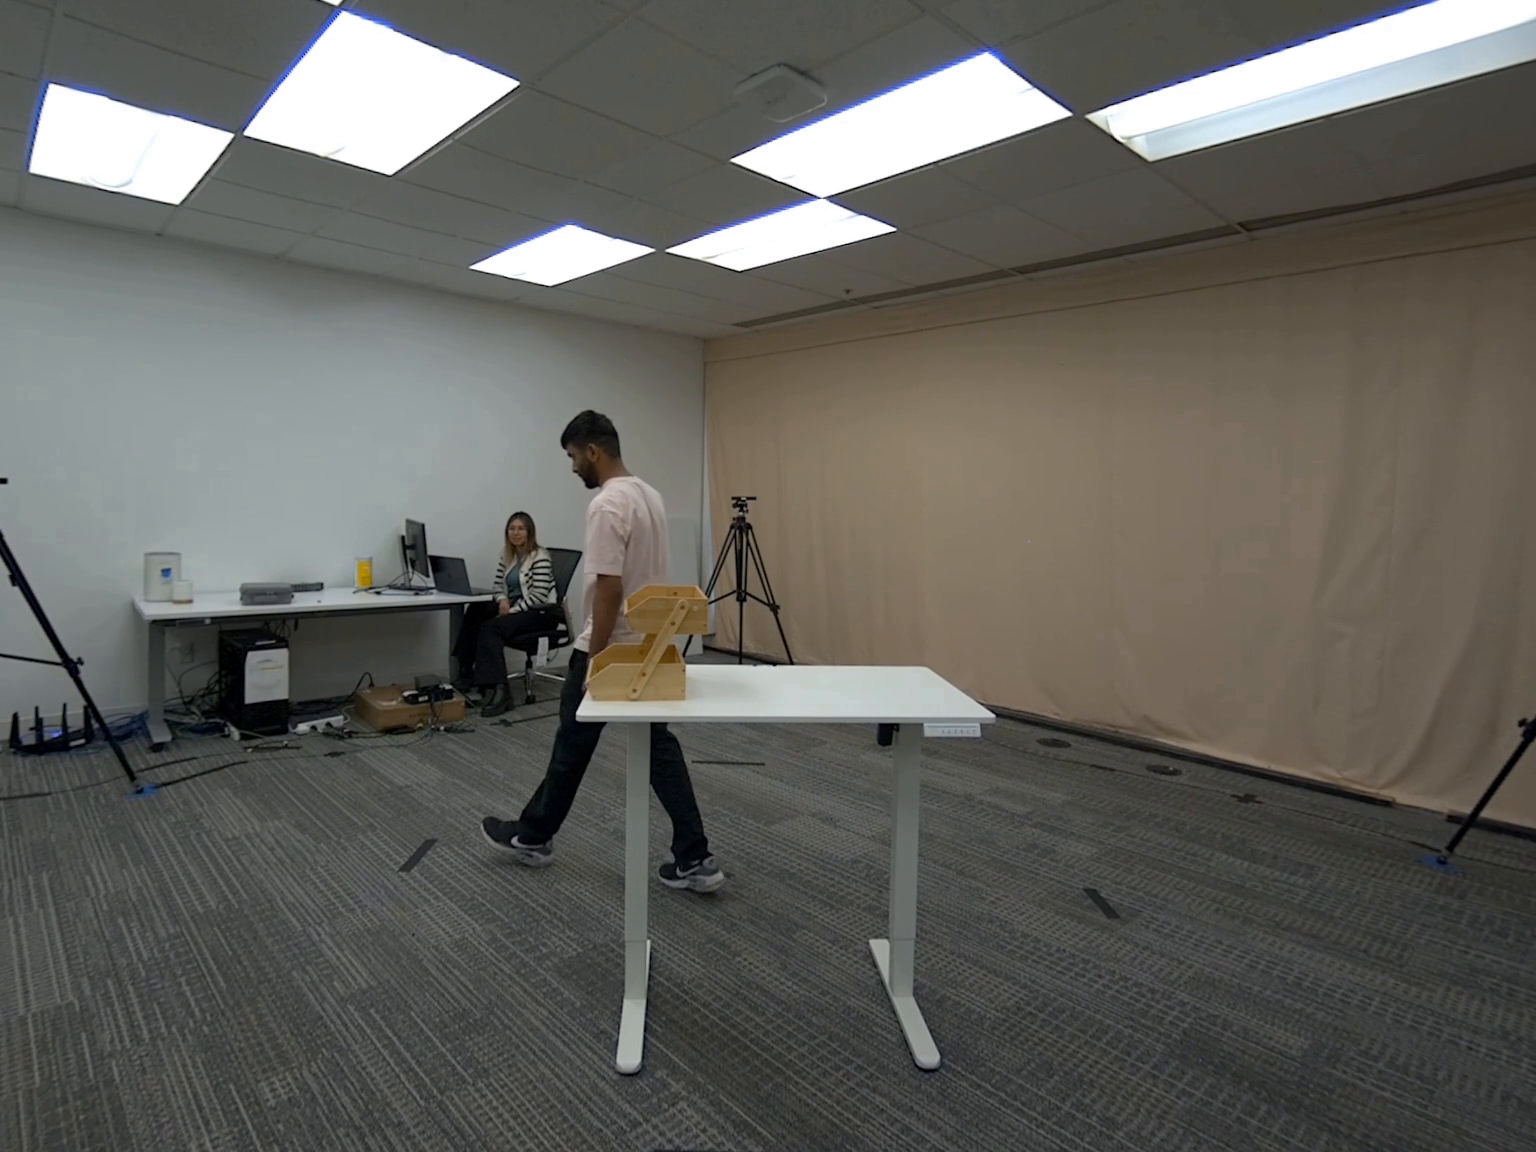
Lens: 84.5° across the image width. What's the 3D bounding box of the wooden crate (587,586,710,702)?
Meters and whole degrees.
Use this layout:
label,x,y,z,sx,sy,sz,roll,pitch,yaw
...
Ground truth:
label,x,y,z,sx,sy,sz,roll,pitch,yaw
wooden crate,-0.341,0.174,2.230,0.300,0.272,0.327,0,4,-8
